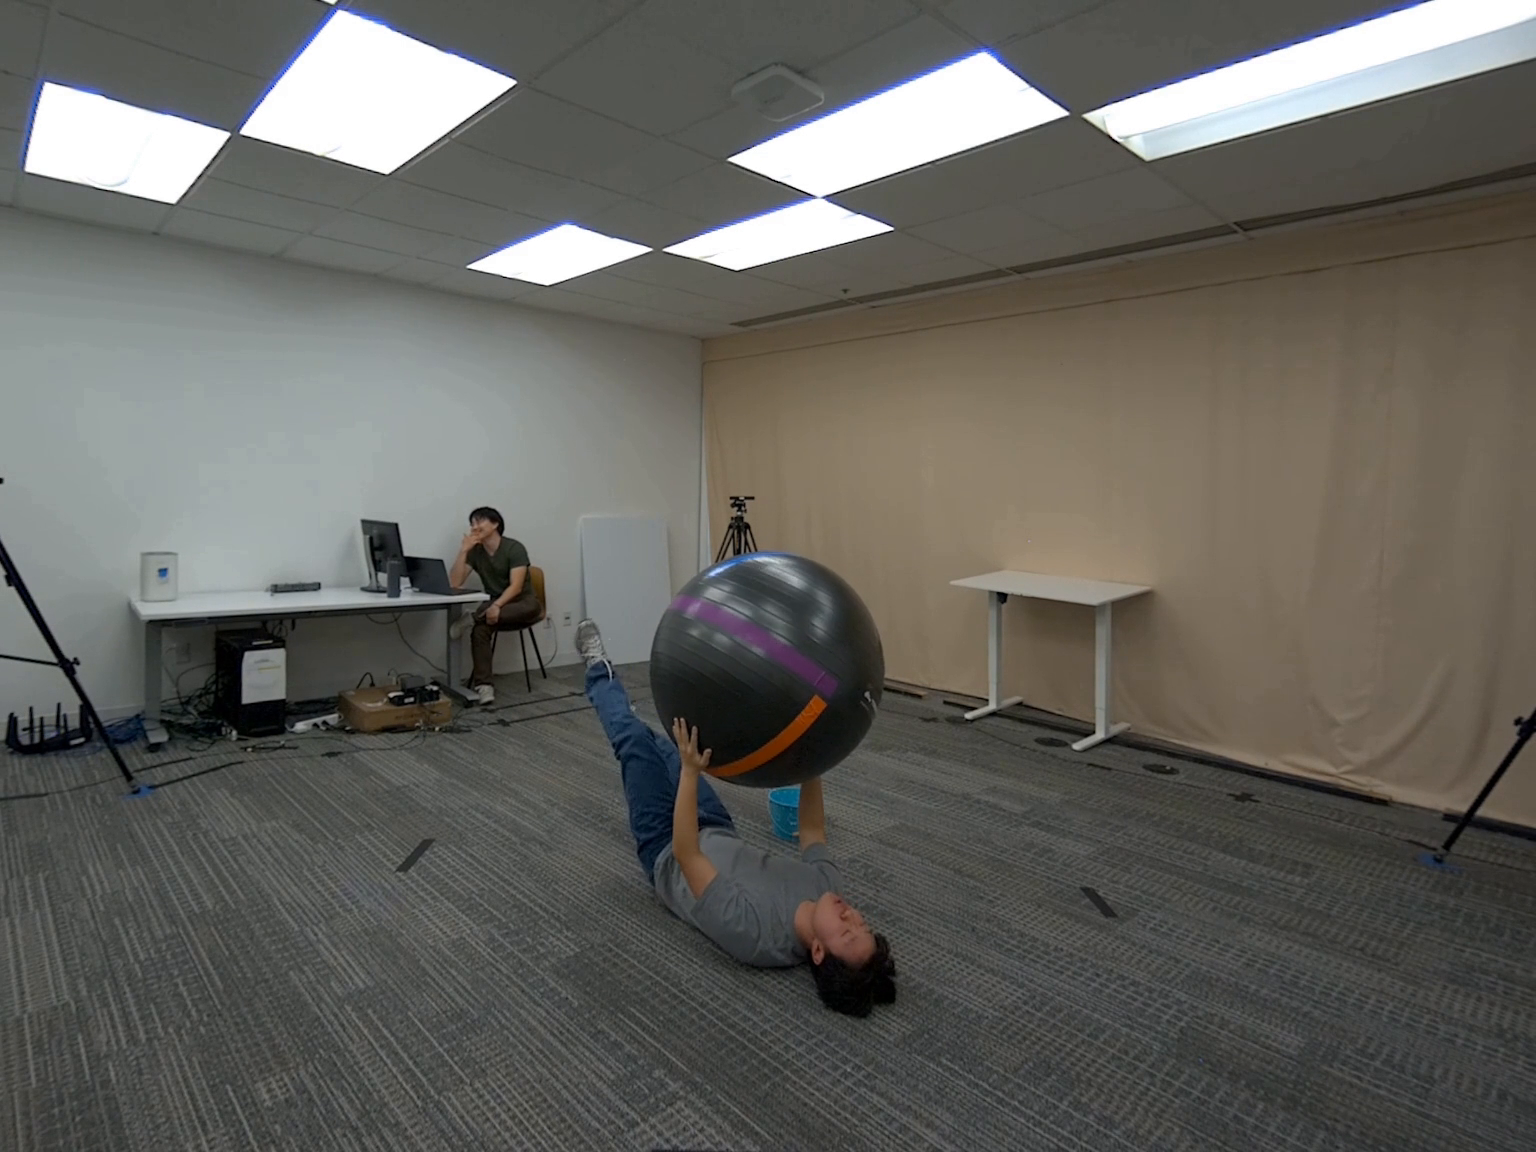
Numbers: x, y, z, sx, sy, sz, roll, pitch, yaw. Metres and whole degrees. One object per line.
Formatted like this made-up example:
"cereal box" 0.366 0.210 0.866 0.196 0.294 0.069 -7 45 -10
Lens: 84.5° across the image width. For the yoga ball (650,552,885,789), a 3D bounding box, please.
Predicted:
"yoga ball" -0.006 0.306 2.741 0.757 0.756 0.761 1 4 -1
